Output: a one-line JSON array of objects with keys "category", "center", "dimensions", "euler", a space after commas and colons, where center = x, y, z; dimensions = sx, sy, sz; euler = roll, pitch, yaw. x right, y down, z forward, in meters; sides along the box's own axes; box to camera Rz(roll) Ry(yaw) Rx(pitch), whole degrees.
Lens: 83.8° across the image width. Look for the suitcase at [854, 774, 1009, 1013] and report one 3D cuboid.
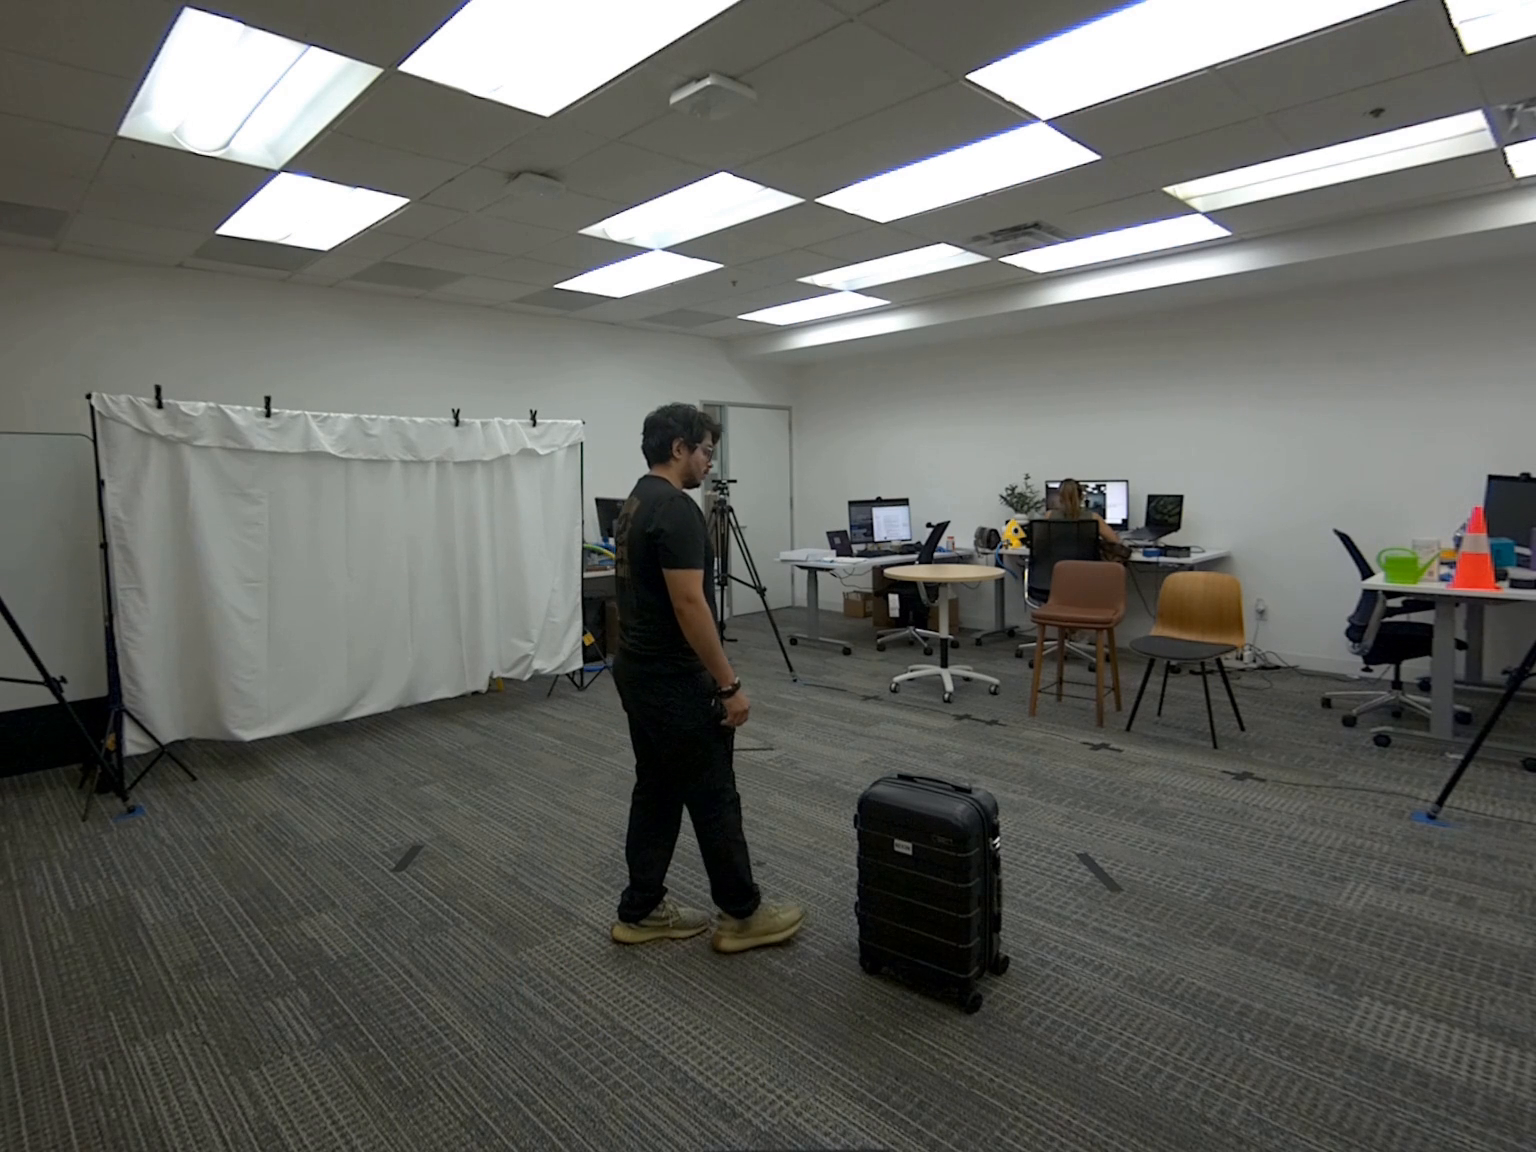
[{"category": "suitcase", "center": [0.452, 0.845, 2.385], "dimensions": [0.386, 0.547, 0.243], "euler": [0, 6, 35]}]
